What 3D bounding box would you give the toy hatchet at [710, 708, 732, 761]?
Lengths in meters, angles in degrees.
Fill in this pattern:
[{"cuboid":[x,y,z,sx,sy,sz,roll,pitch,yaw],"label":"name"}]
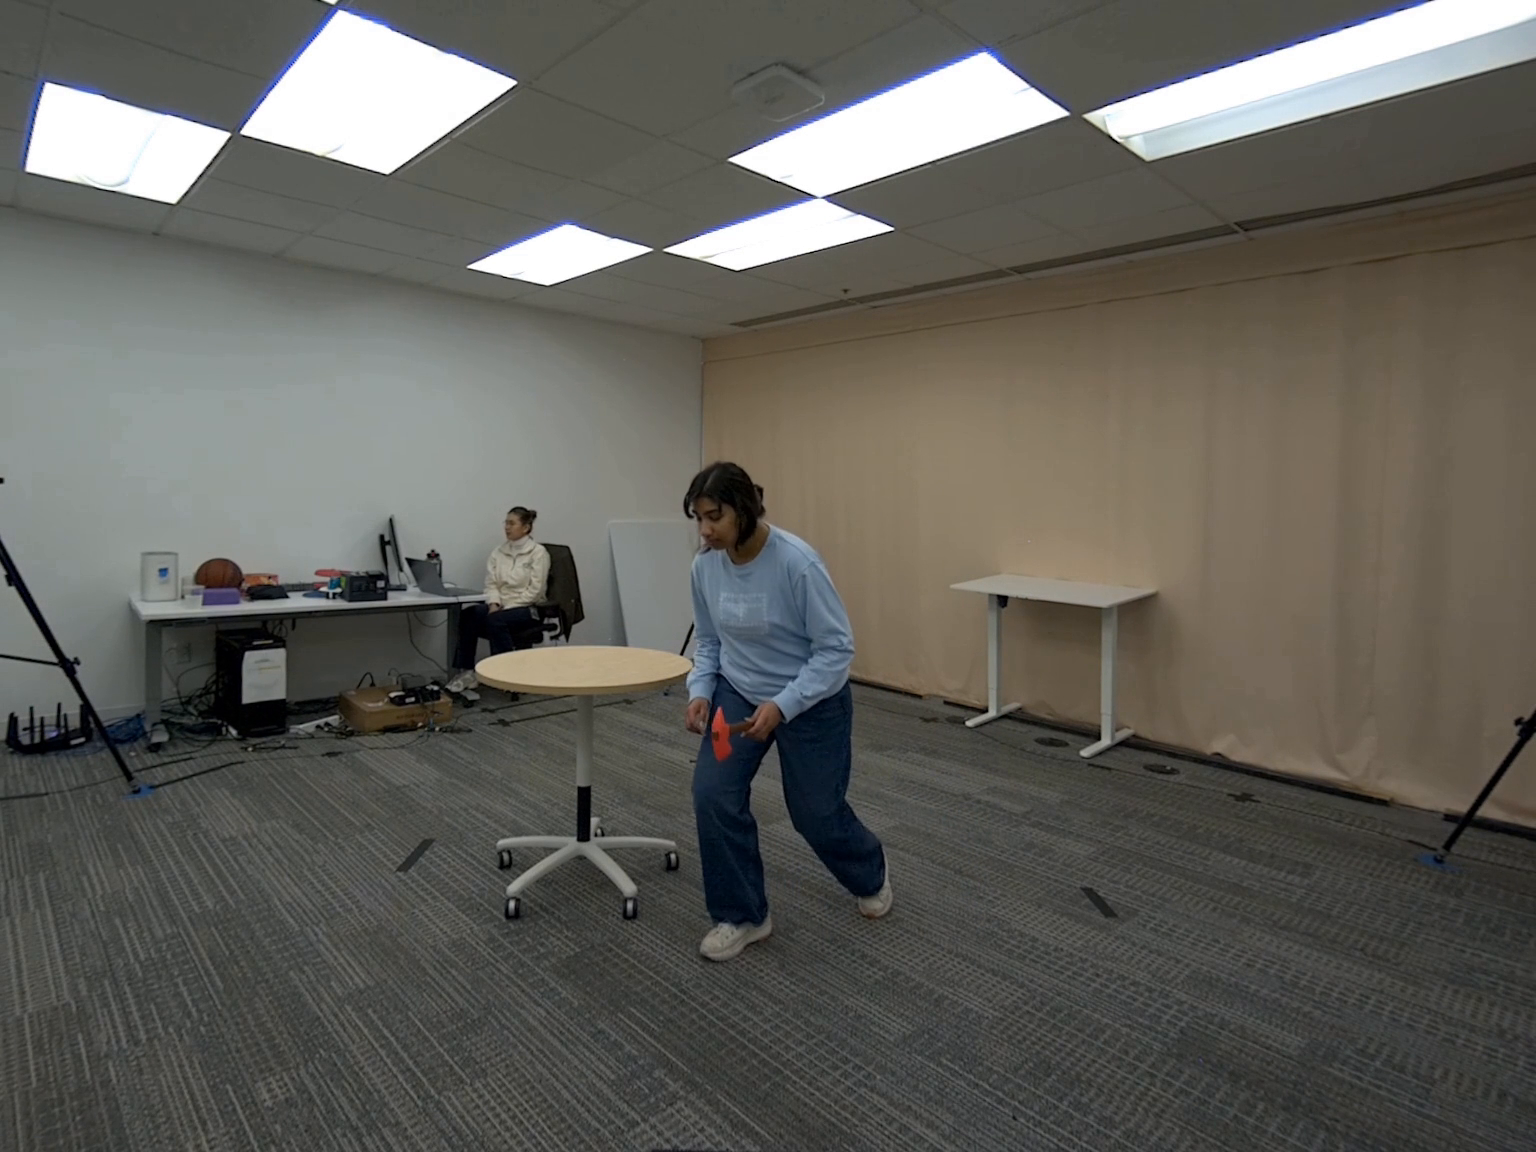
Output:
[{"cuboid":[-0.082,0.445,2.246,0.030,0.133,0.262,-5,-25,26],"label":"toy hatchet"}]
